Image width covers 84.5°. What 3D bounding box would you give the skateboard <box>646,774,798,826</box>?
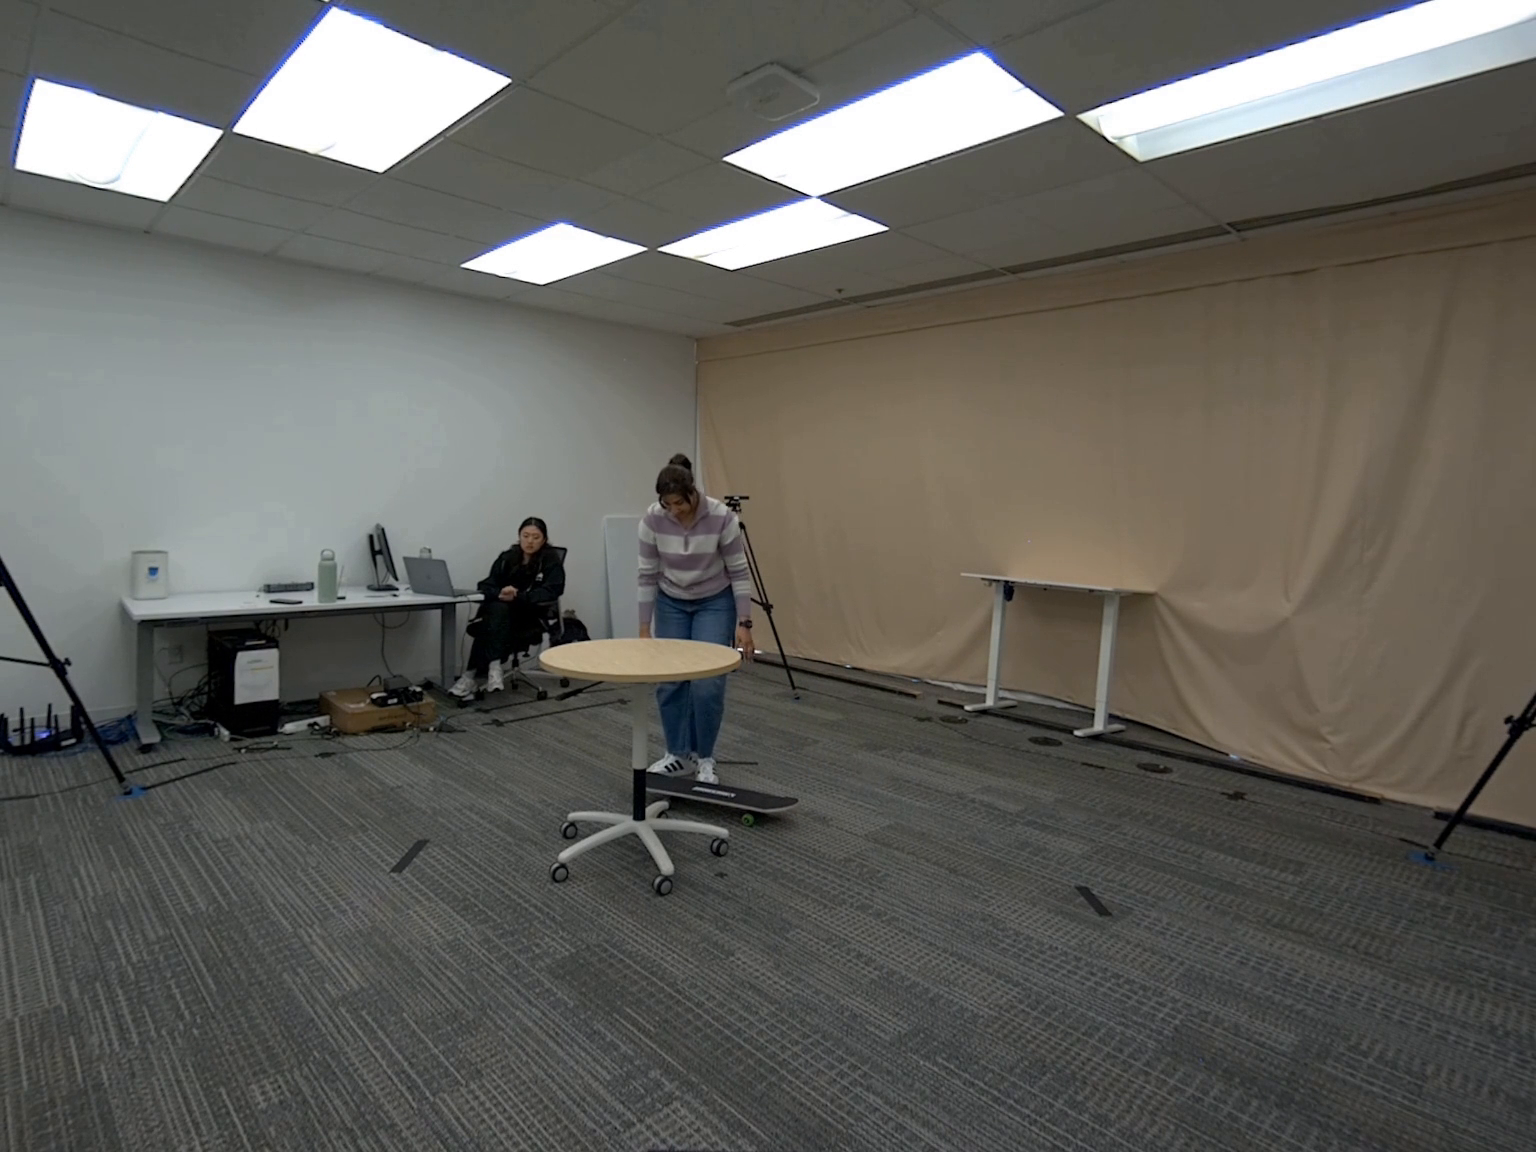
[{"bbox_3d":[-0.248,0.989,3.733,0.800,0.110,0.190,3,6,24],"label":"skateboard"}]
